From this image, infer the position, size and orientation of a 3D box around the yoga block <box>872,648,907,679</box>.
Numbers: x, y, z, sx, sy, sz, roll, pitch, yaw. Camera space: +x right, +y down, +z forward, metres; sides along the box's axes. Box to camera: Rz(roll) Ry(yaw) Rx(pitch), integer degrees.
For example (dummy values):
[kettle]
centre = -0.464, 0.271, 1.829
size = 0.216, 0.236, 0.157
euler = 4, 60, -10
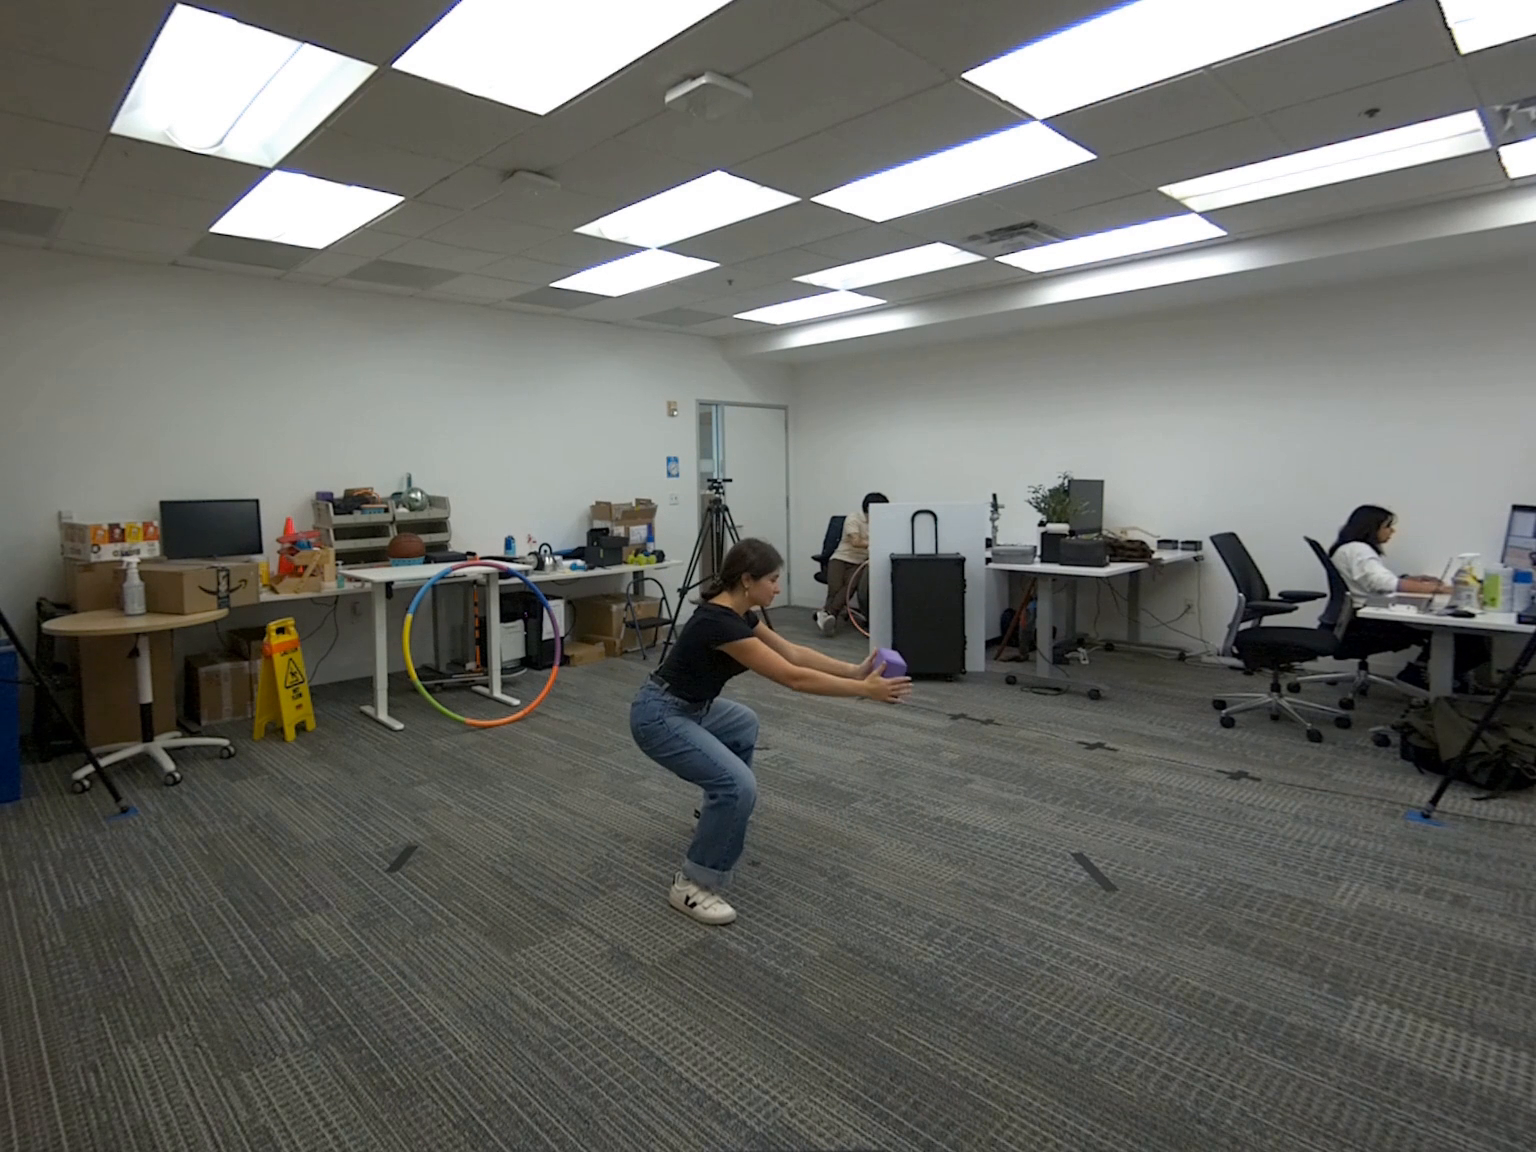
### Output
[yoga block]
centre = 0.418, 0.337, 2.986
size = 0.076, 0.148, 0.230
euler = 13, 5, -2
